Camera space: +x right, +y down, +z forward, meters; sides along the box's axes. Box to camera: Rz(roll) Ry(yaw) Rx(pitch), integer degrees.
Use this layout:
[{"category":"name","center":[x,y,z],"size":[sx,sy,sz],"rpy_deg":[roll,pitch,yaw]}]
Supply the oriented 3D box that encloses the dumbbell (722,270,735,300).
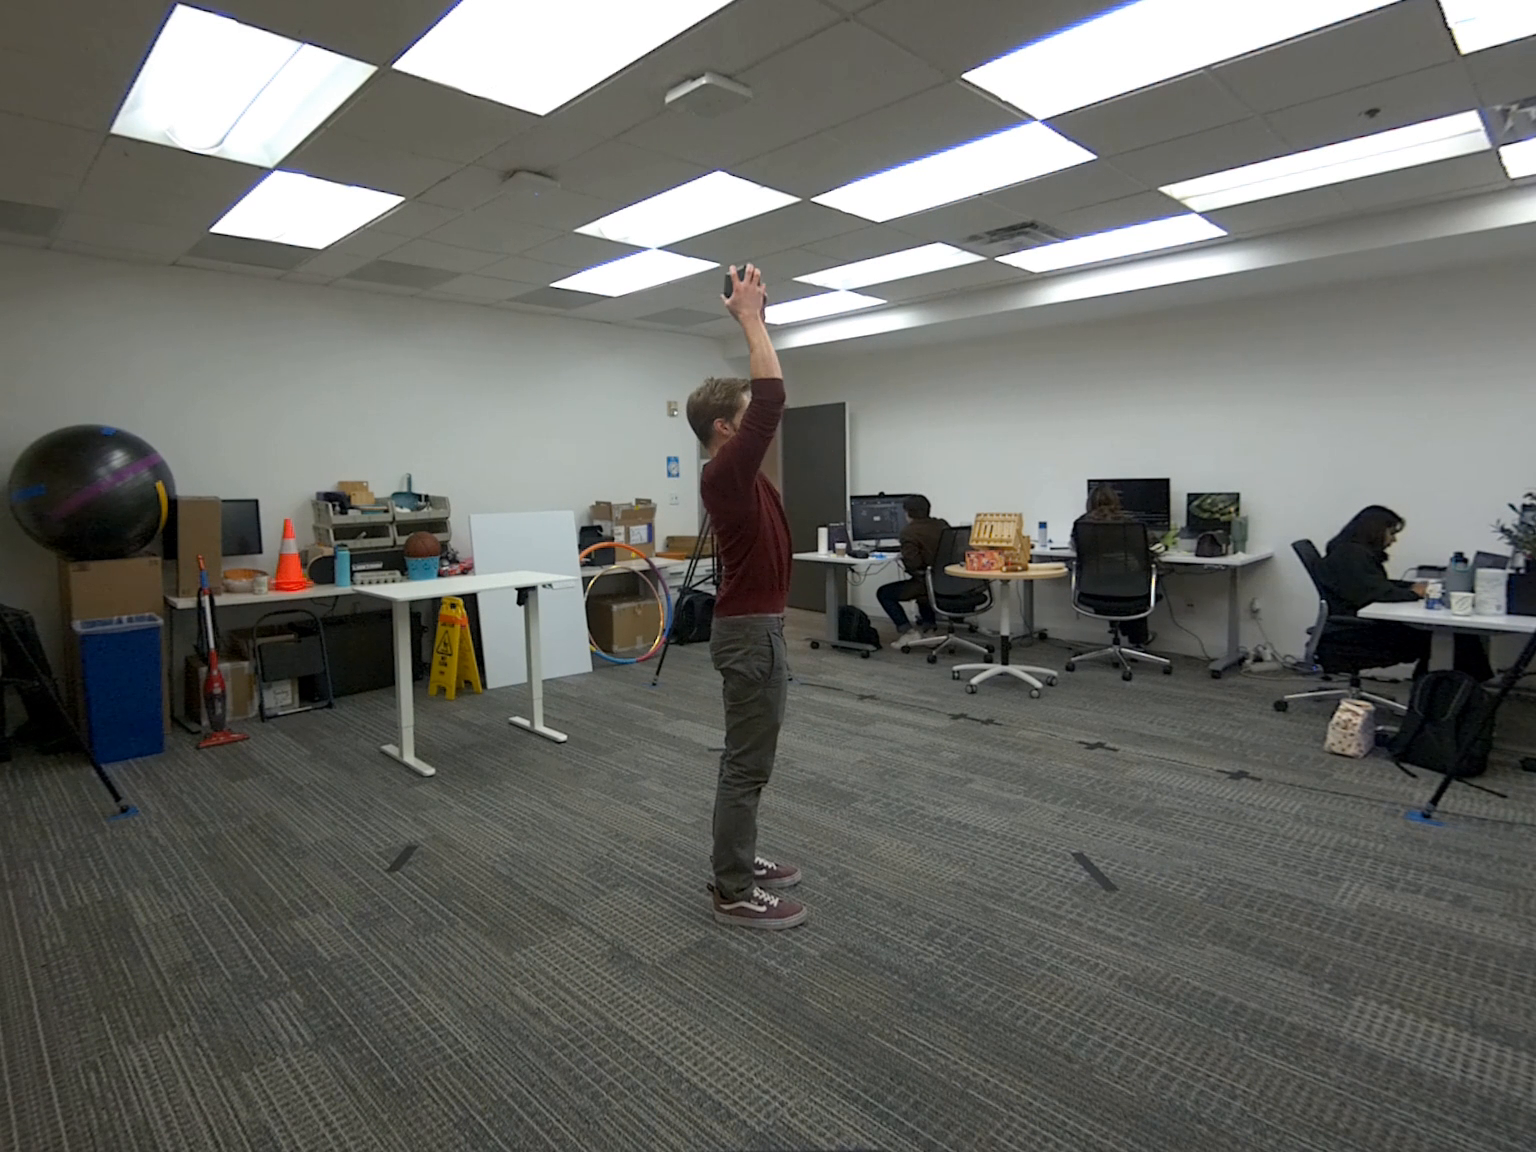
[{"category":"dumbbell","center":[-0.061,-0.894,2.692],"size":[0.122,0.108,0.295],"rpy_deg":[34,9,-4]}]
